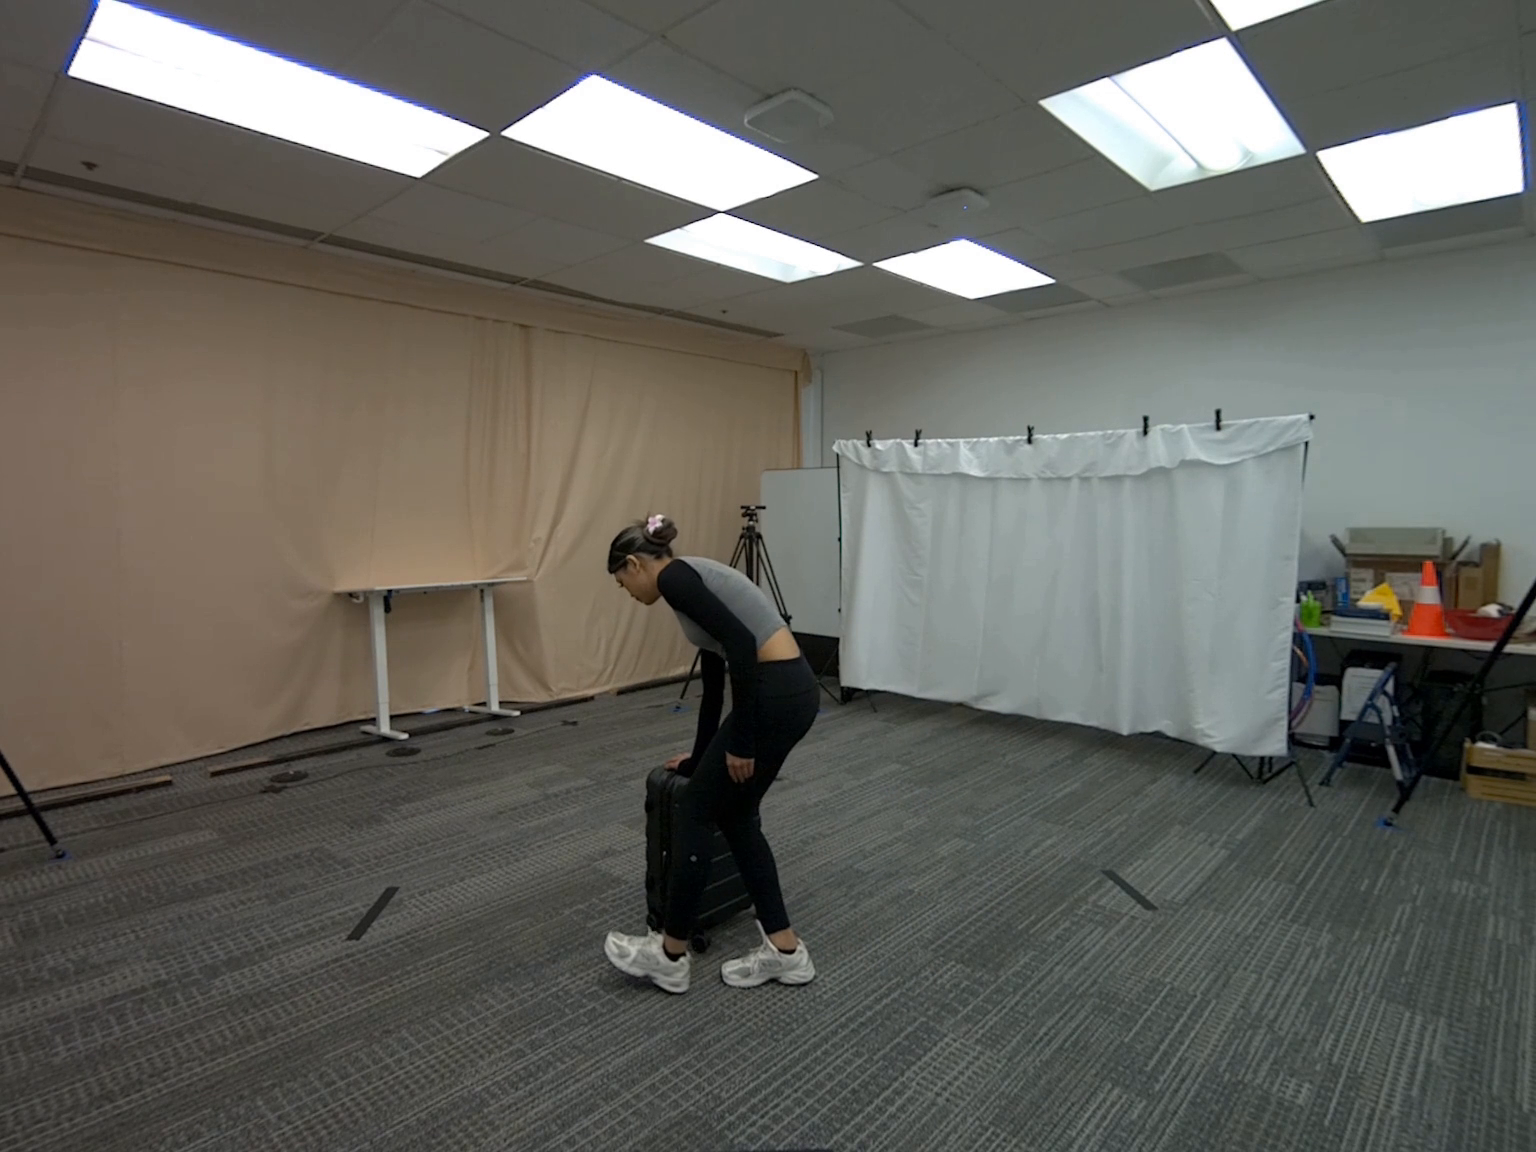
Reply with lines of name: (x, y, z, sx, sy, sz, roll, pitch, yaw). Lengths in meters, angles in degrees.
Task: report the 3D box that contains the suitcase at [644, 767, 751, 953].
suitcase: (-0.212, 0.881, 2.815, 0.256, 0.549, 0.364, 0, 2, 42)
